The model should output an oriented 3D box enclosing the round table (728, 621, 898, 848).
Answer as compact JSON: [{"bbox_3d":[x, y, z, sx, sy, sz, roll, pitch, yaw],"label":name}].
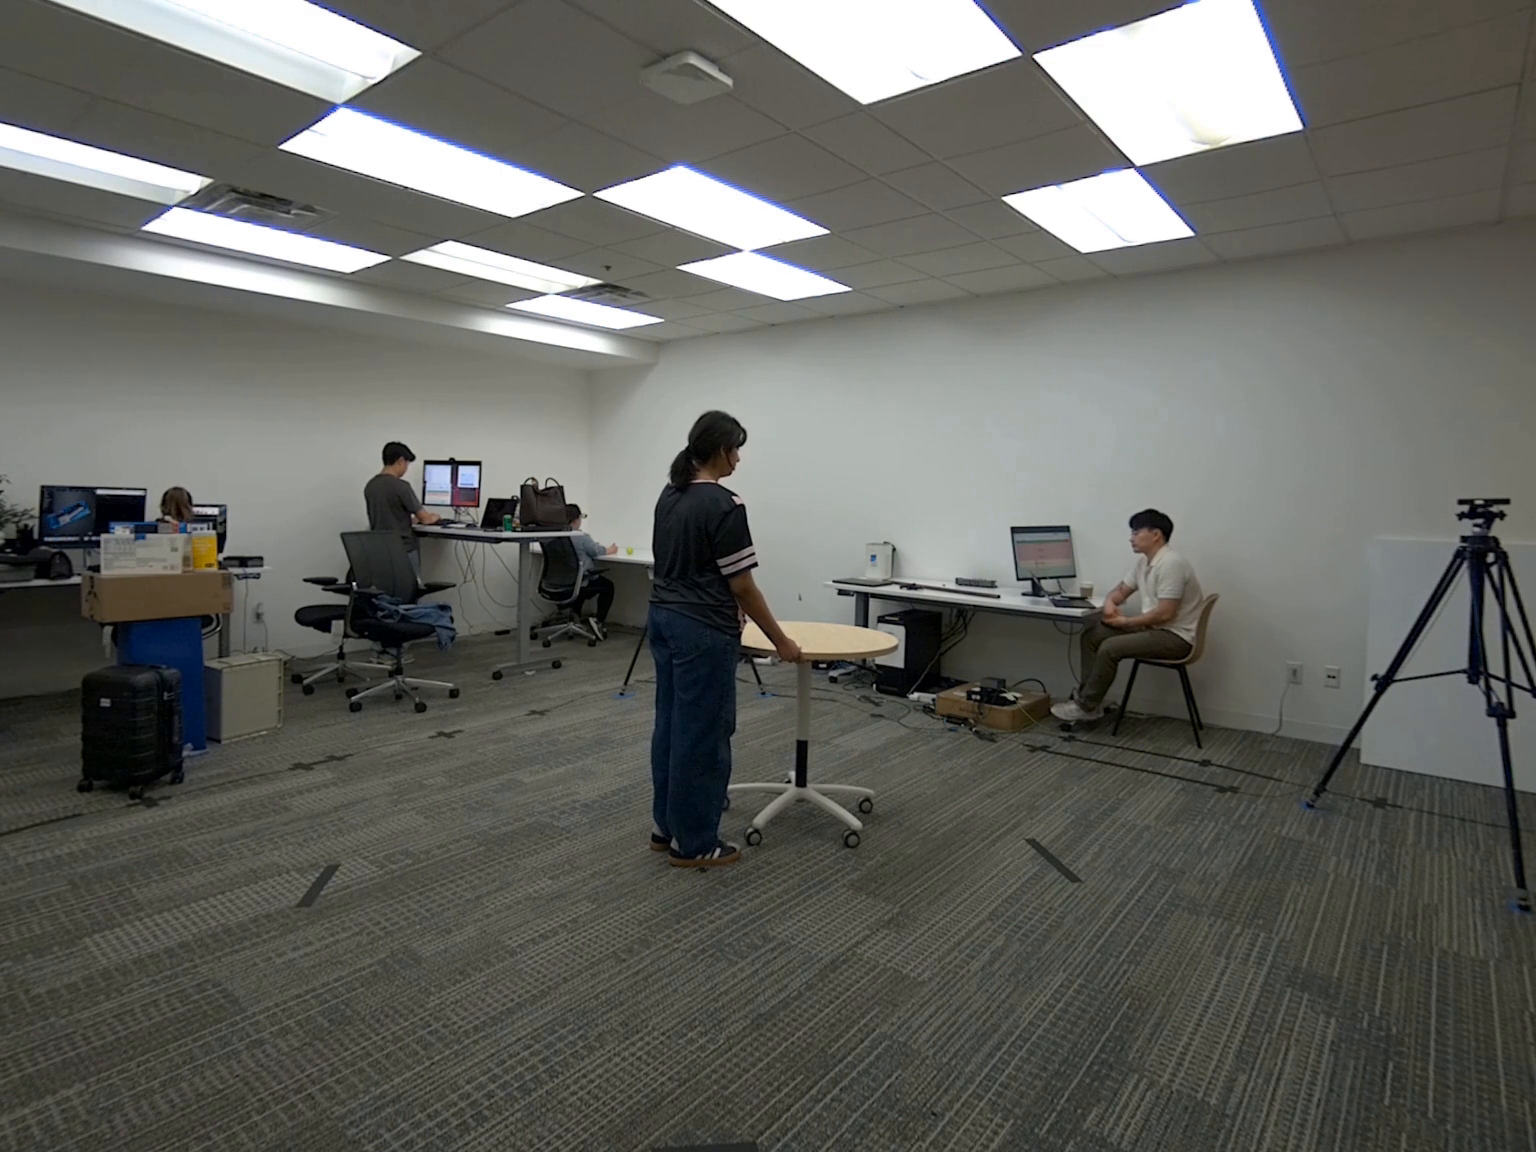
[{"bbox_3d":[0.124,0.636,3.587,0.784,0.784,0.789,2,4,-2],"label":"round table"}]
